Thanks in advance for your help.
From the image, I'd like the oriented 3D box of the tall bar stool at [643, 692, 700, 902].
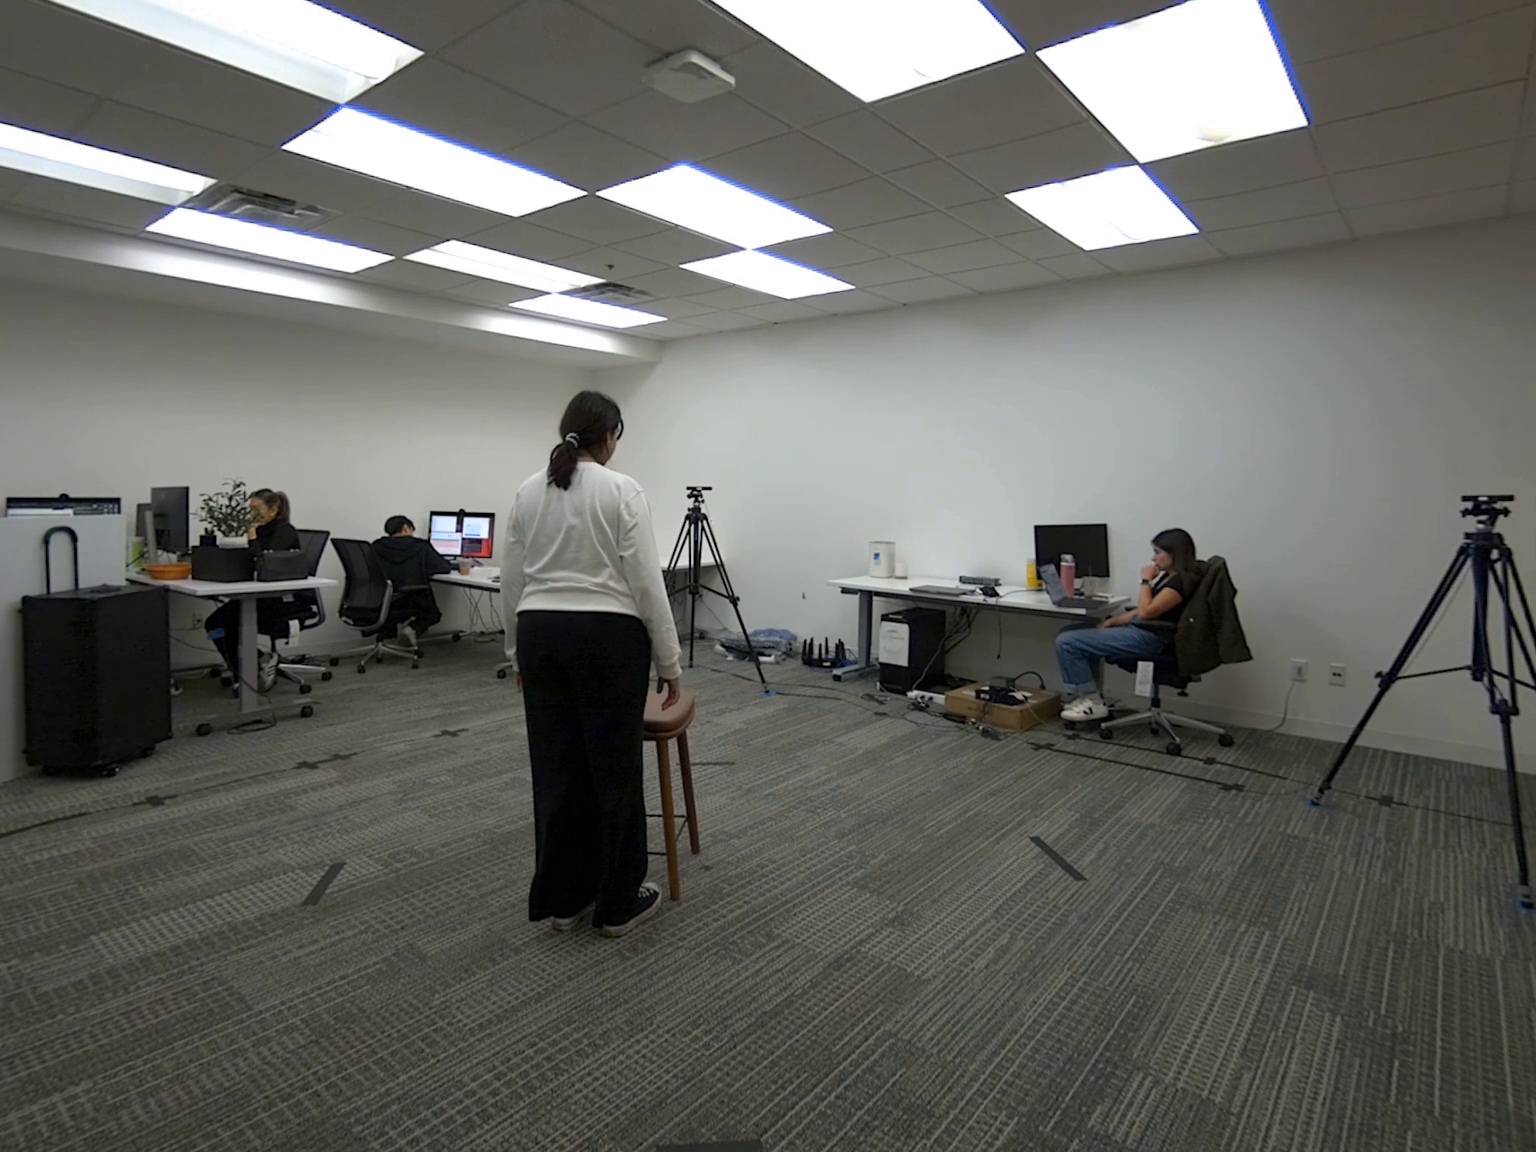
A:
[{"bbox_3d":[-0.503,0.629,3.067,0.473,0.887,0.453,-1,3,9],"label":"tall bar stool"}]
